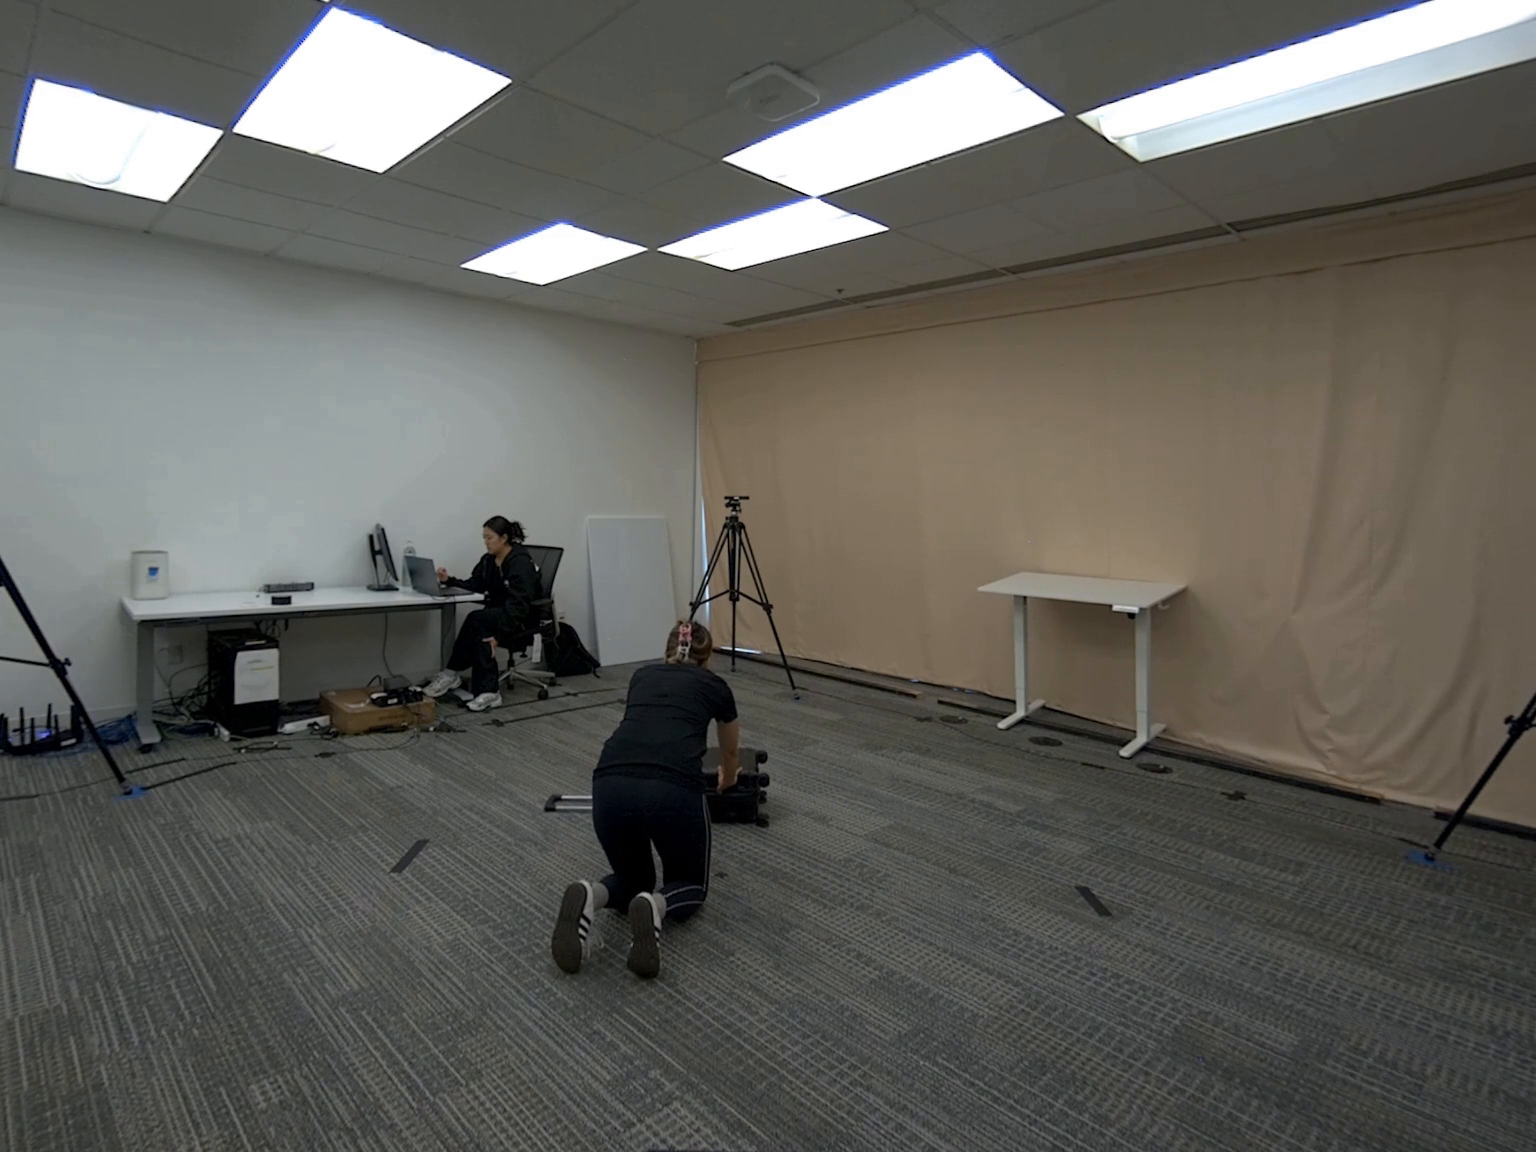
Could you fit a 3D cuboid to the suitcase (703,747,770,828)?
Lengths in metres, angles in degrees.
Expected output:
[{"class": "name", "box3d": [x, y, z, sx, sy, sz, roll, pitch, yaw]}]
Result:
[{"class": "suitcase", "box3d": [-0.487, 0.918, 3.755, 0.979, 0.256, 0.385, 3, 6, 0]}]
